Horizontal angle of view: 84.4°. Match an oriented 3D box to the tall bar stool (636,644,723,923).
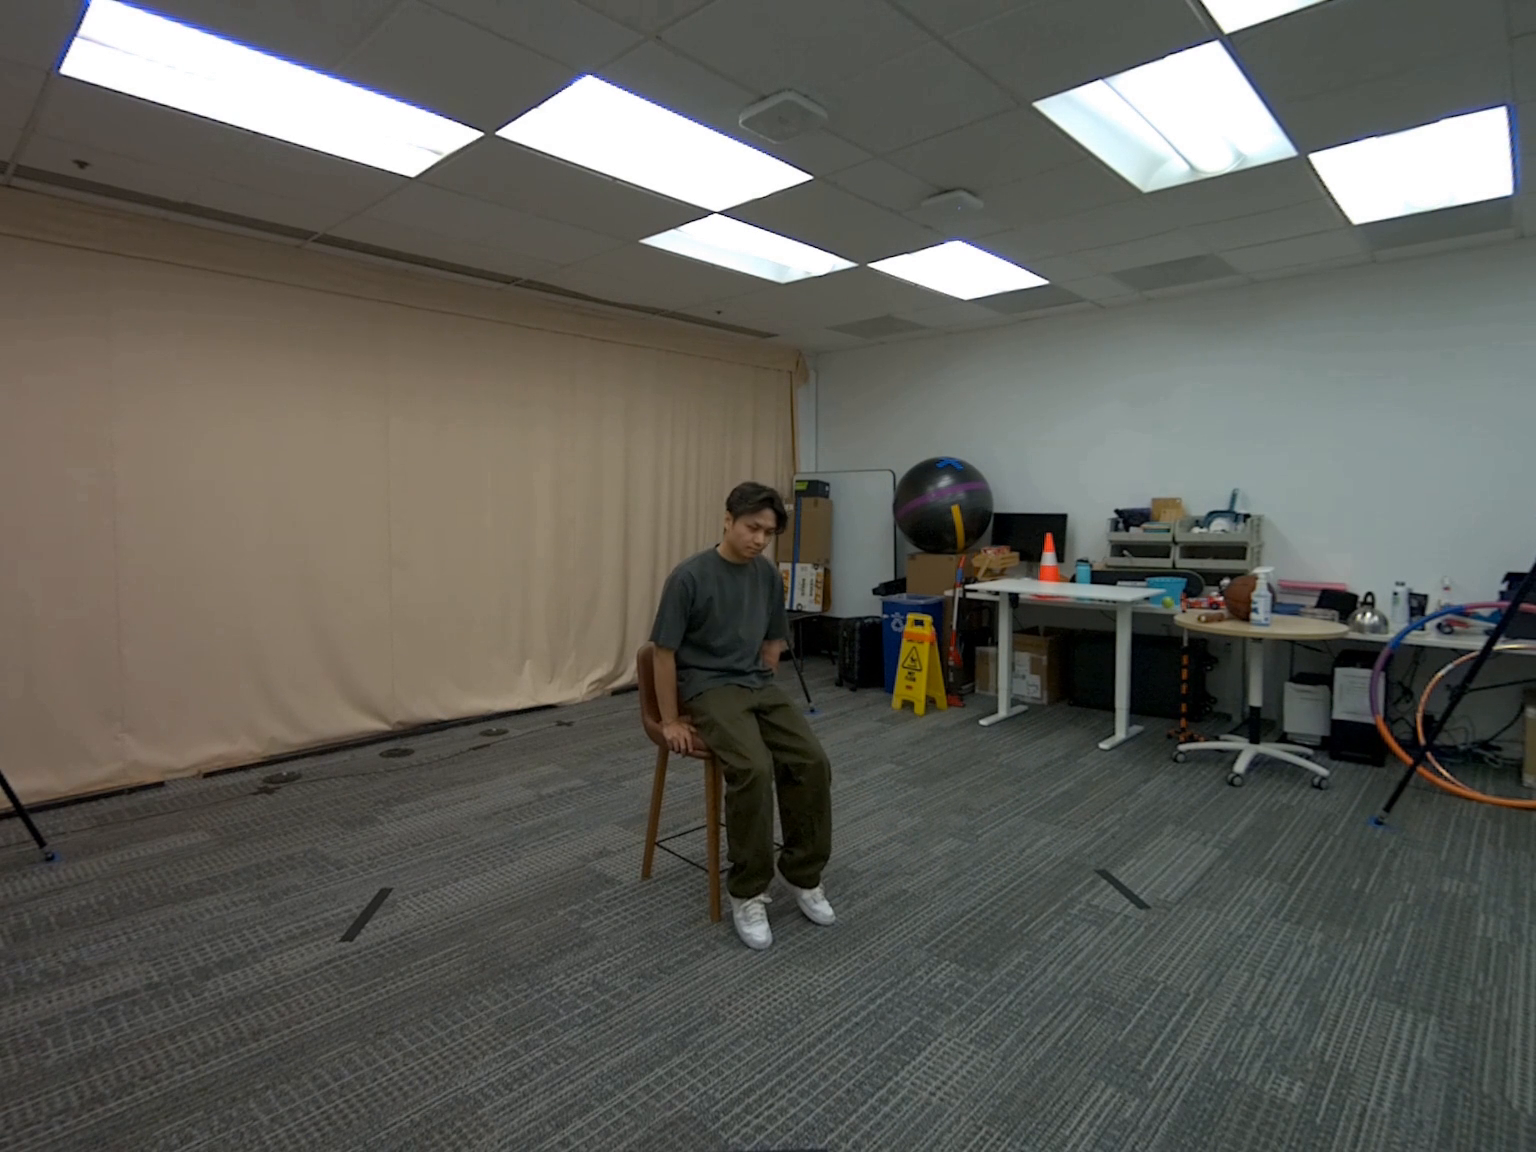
[{"bbox_3d":[-0.197,0.700,3.103,0.442,0.889,0.483,-3,2,-43],"label":"tall bar stool"}]
